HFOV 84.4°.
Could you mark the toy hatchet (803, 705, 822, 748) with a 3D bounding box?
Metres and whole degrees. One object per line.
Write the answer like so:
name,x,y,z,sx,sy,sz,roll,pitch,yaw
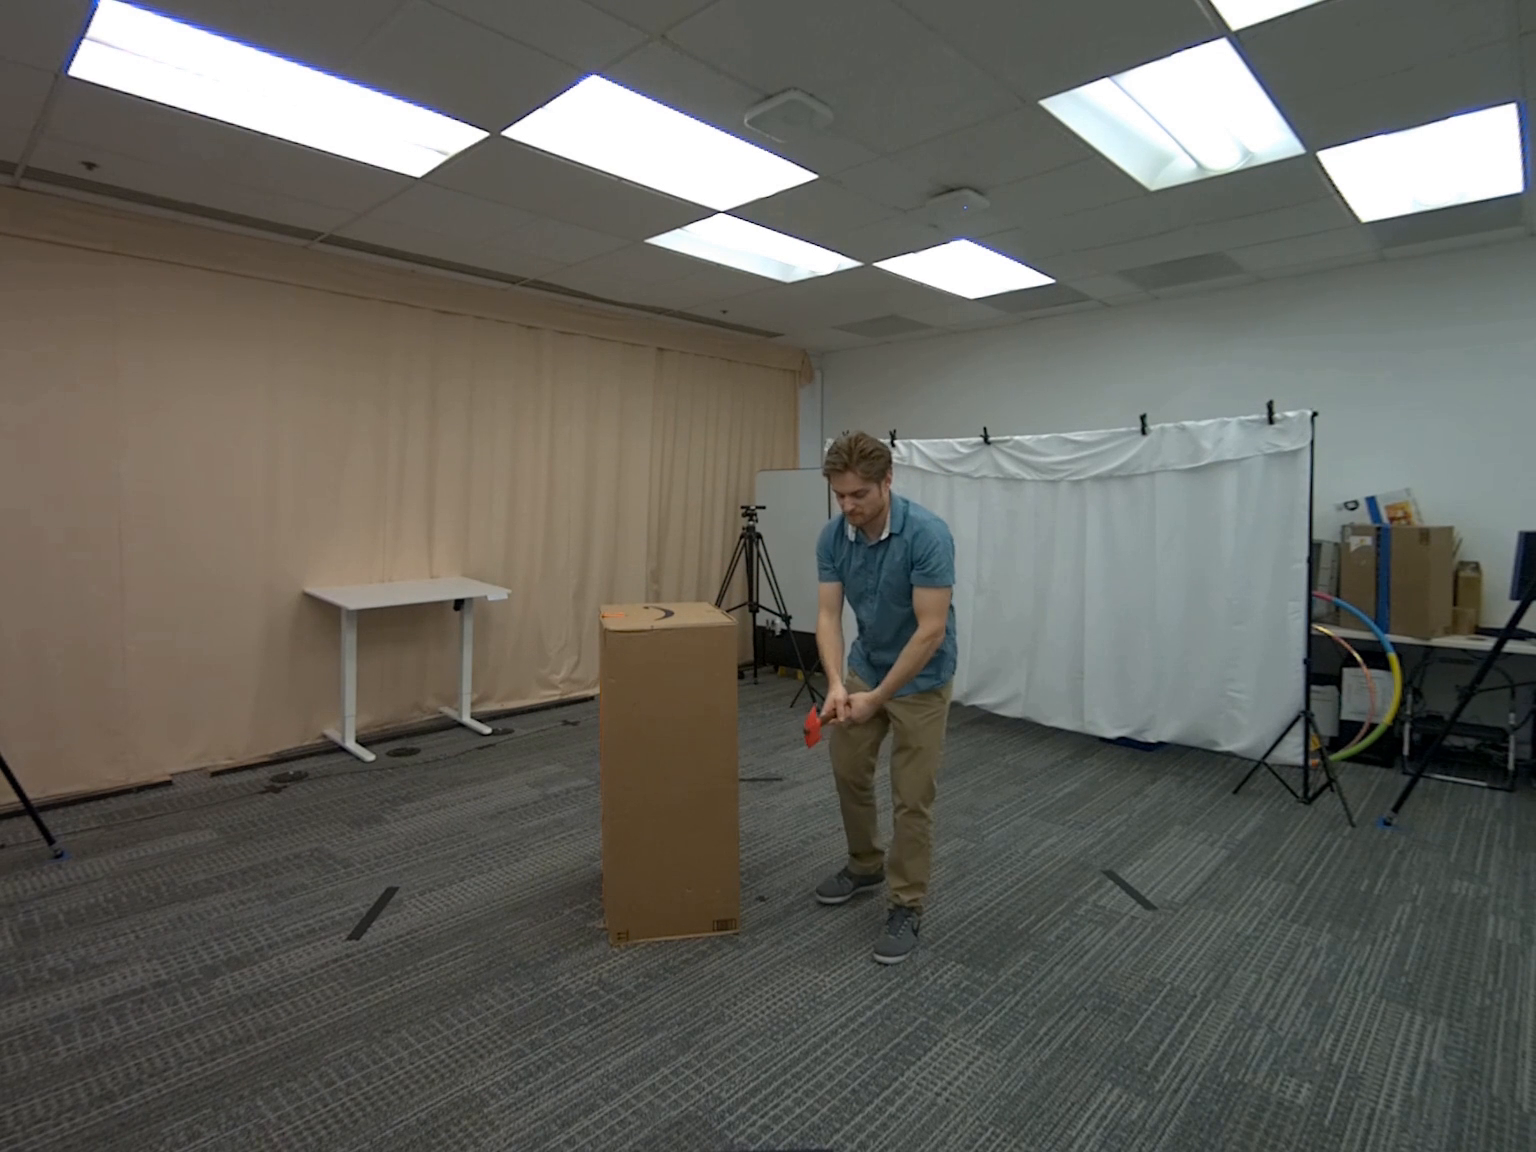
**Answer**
toy hatchet,0.188,0.462,2.493,0.030,0.131,0.261,17,3,38
